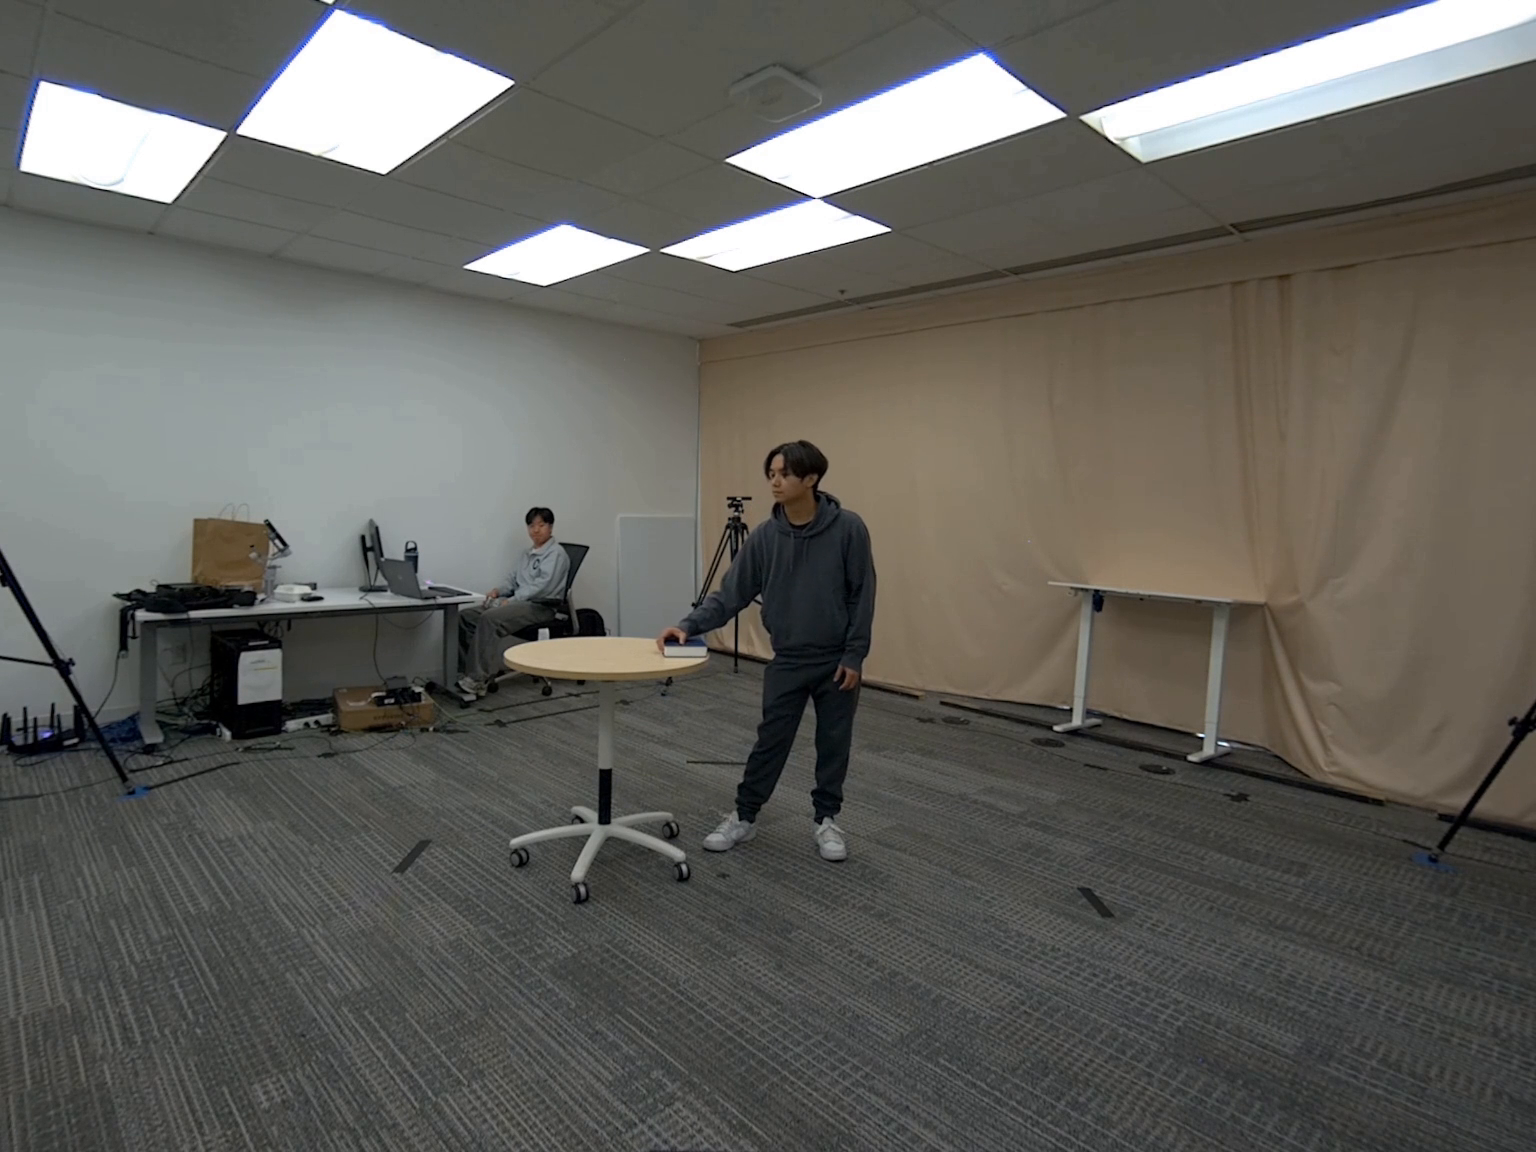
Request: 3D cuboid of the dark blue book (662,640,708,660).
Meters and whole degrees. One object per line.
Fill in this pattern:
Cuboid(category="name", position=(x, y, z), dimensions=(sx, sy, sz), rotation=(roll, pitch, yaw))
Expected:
Cuboid(category="dark blue book", position=(-0.336, 0.272, 3.262), dimensions=(0.162, 0.045, 0.248), rotation=(1, 5, -10))
